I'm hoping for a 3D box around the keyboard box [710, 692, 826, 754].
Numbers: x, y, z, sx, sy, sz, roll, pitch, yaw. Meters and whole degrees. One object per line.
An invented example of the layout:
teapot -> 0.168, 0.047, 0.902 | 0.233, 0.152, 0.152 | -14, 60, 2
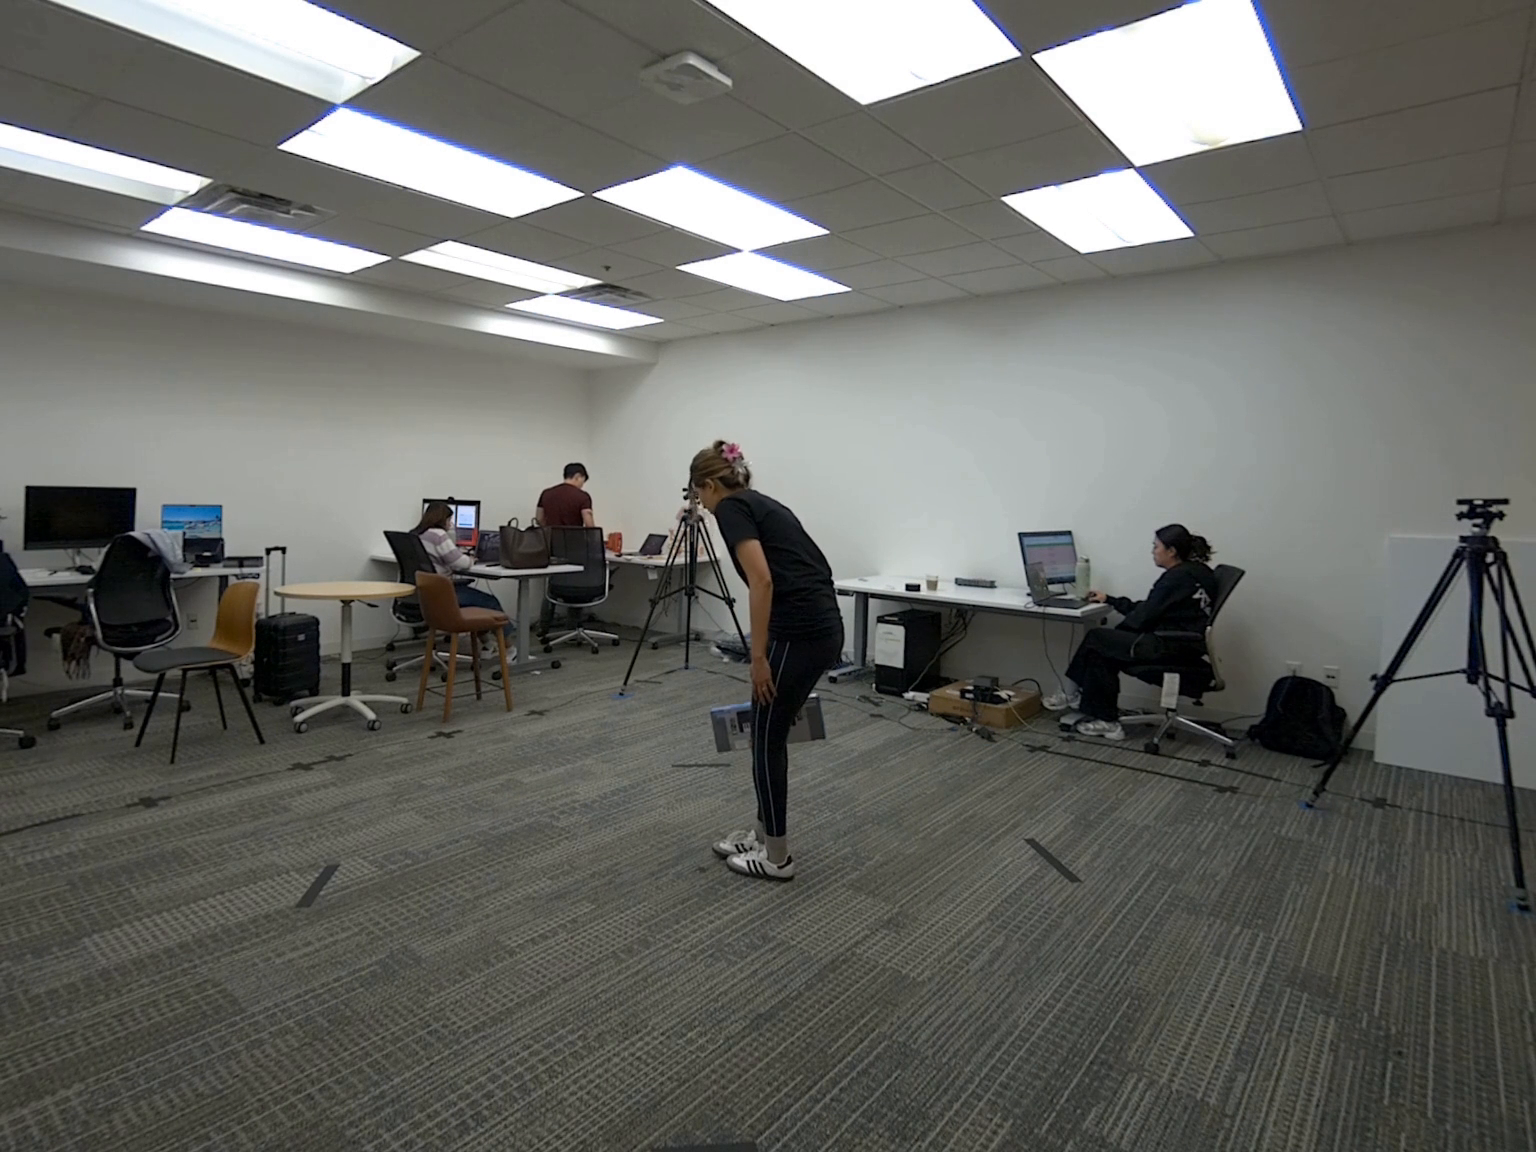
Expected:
keyboard box -> -0.005, 0.583, 3.373 | 0.441, 0.176, 0.058 | -9, 1, 10
